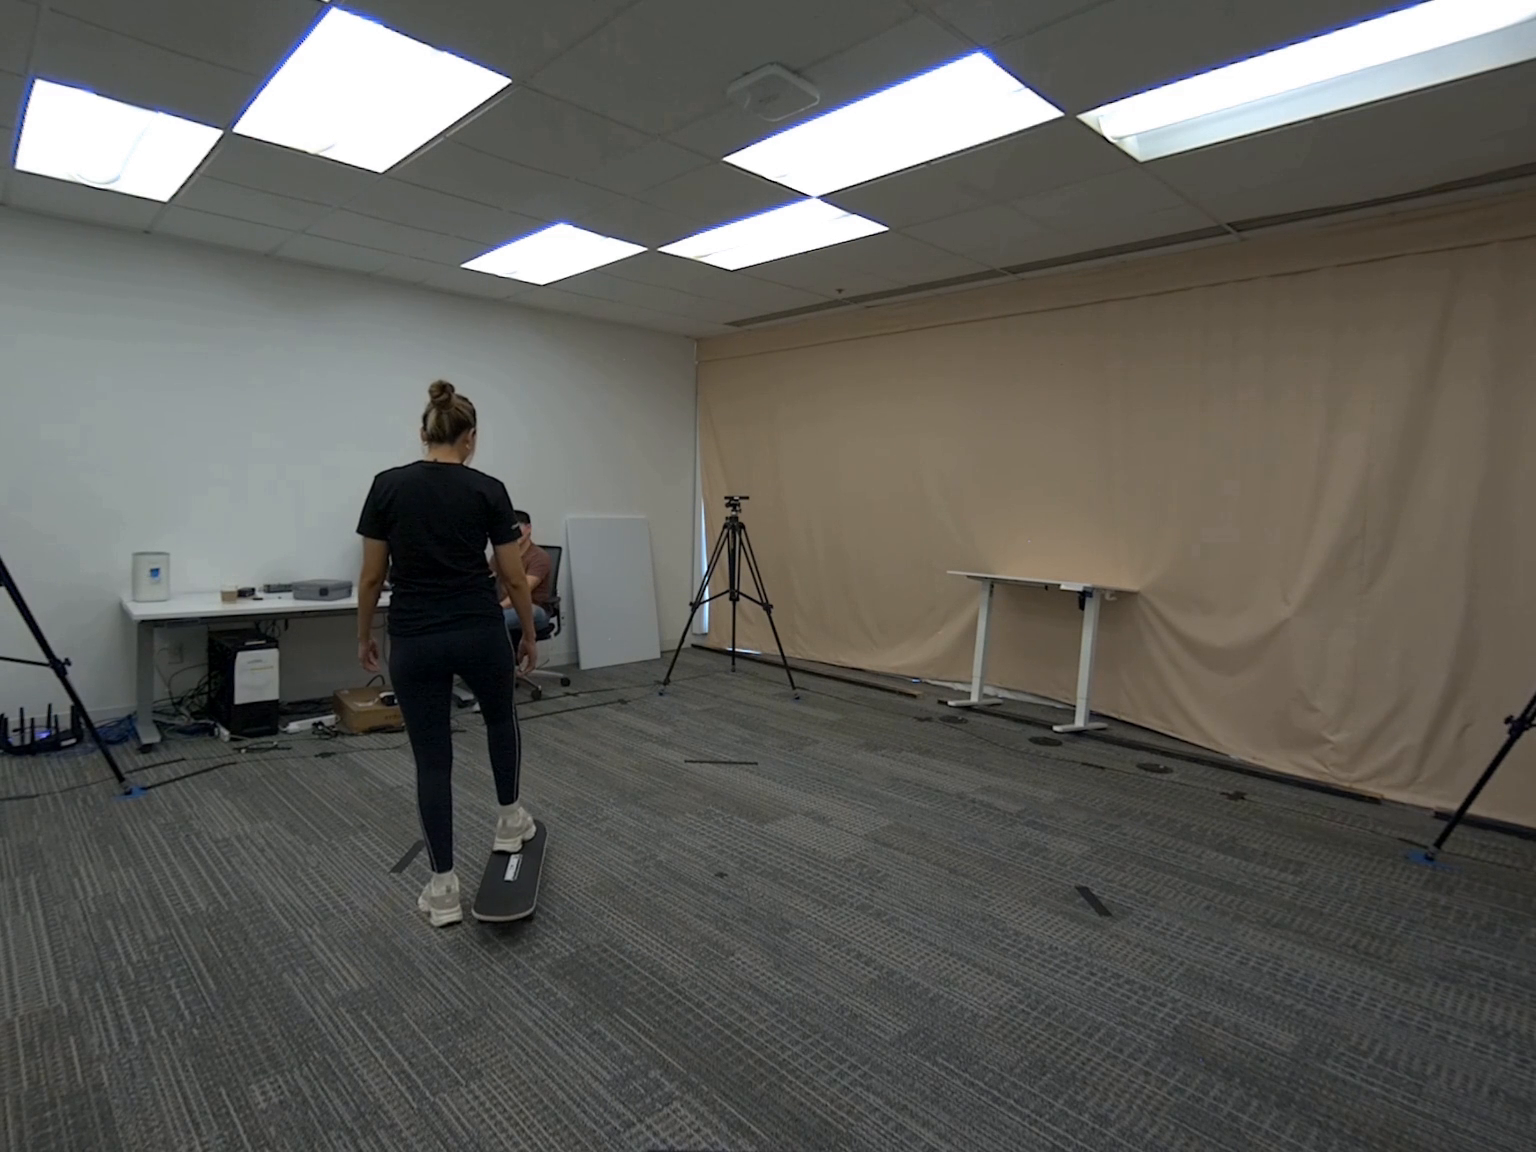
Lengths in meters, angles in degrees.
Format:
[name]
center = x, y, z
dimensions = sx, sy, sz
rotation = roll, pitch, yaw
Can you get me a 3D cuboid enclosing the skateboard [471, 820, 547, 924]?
[skateboard]
center = -0.891, 1.049, 2.925
dimensions = 0.192, 0.110, 0.794
rotation = 1, 5, -10
